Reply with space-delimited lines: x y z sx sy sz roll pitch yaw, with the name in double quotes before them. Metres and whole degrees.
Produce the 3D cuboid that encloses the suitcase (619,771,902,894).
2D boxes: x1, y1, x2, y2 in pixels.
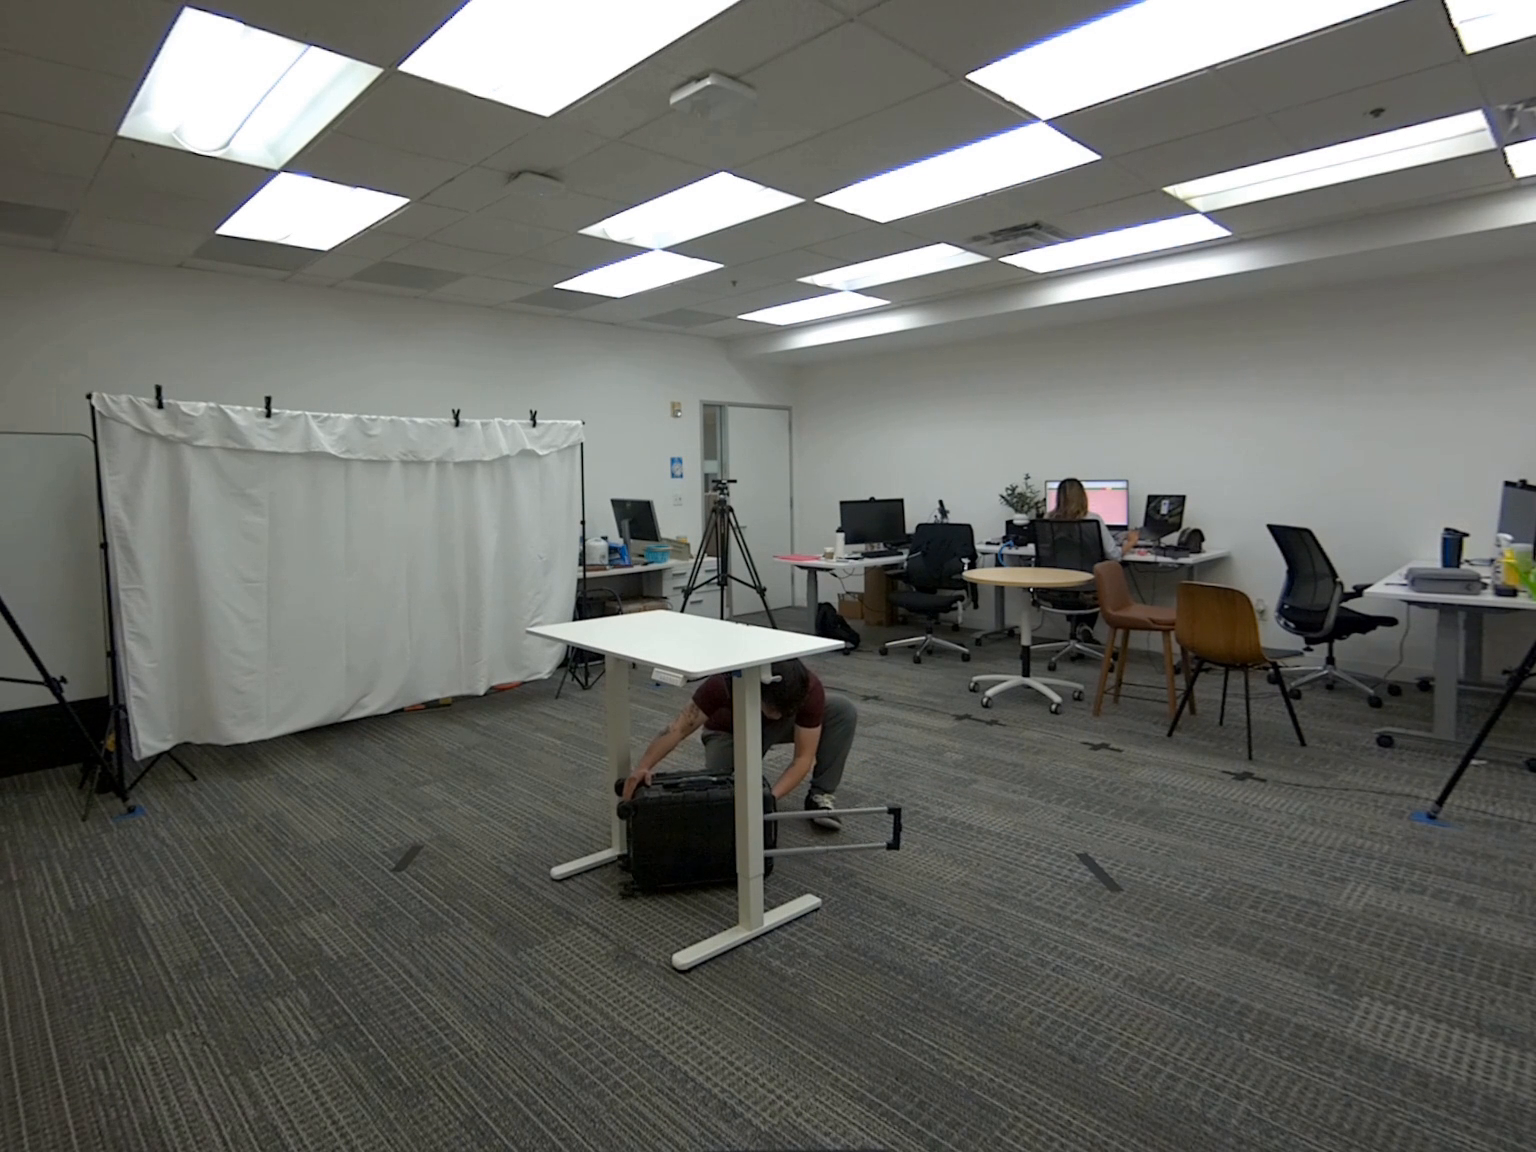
"suitcase" -0.045 0.865 3.016 0.970 0.381 0.261 -3 8 -9
